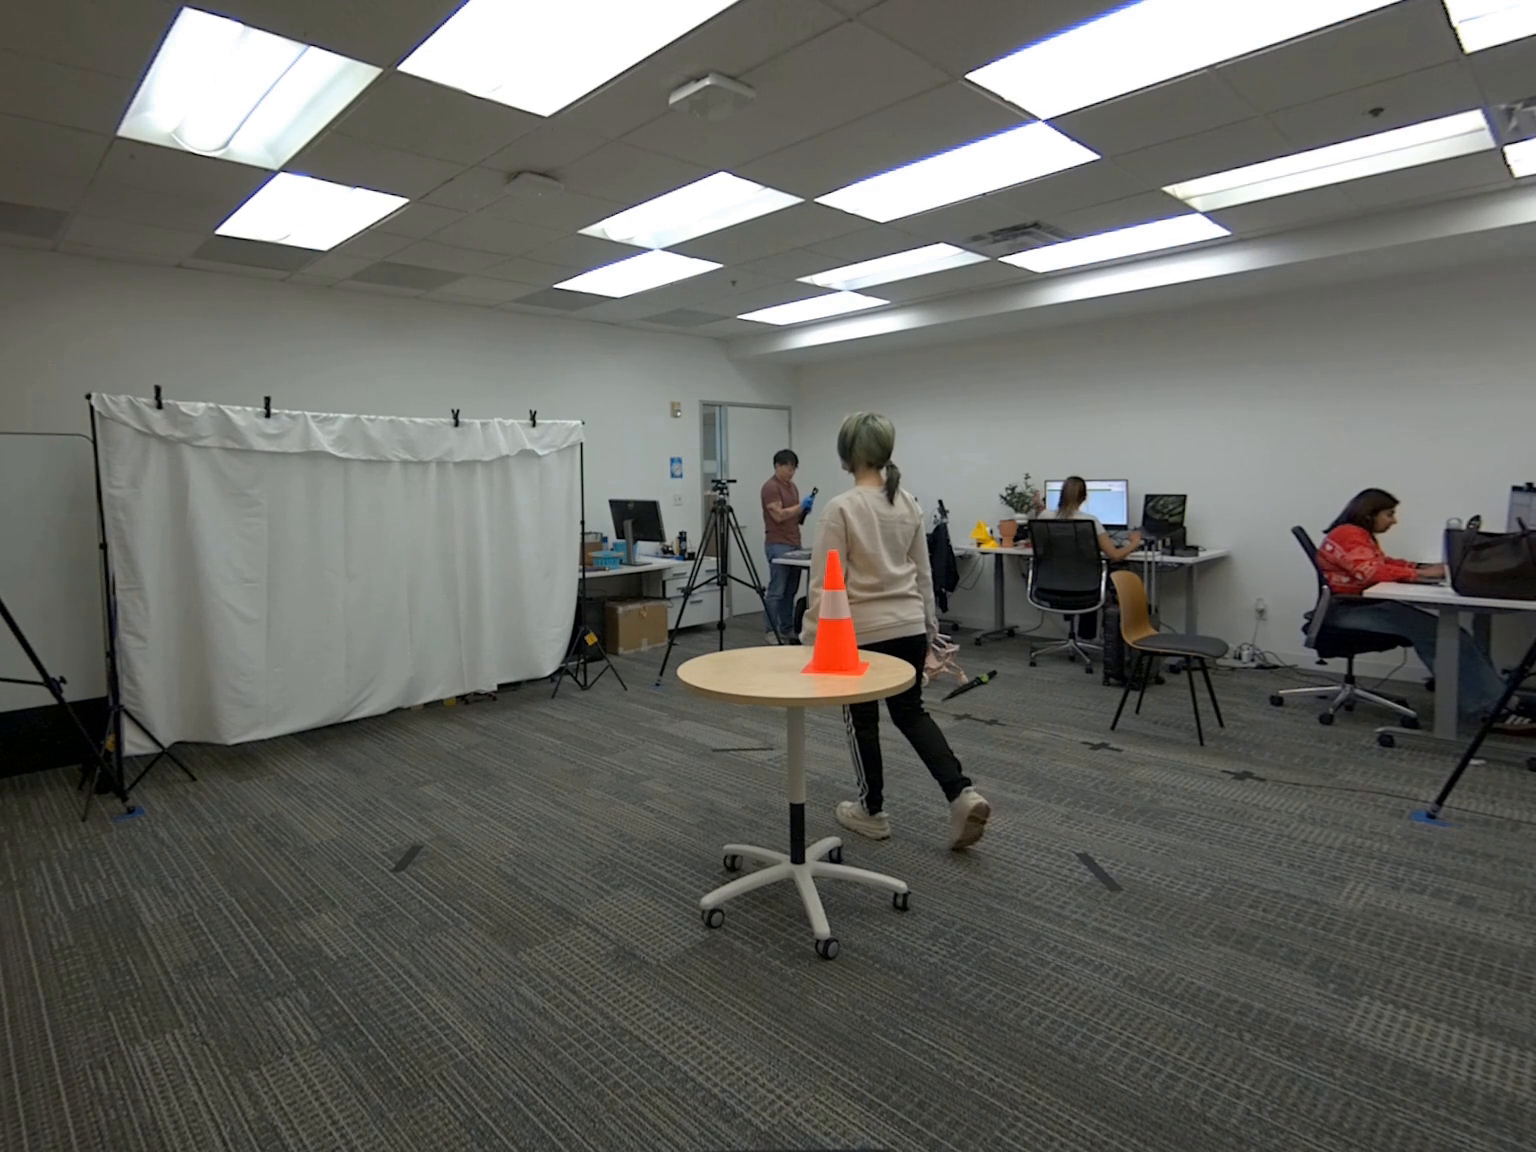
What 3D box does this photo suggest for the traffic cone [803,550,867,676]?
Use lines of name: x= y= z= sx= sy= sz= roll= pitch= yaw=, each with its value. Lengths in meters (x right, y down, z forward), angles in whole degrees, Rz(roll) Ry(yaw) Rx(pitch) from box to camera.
traffic cone: x=0.222 y=0.111 z=2.752 sx=0.206 sy=0.382 sz=0.202 roll=-1 pitch=4 yaw=16
